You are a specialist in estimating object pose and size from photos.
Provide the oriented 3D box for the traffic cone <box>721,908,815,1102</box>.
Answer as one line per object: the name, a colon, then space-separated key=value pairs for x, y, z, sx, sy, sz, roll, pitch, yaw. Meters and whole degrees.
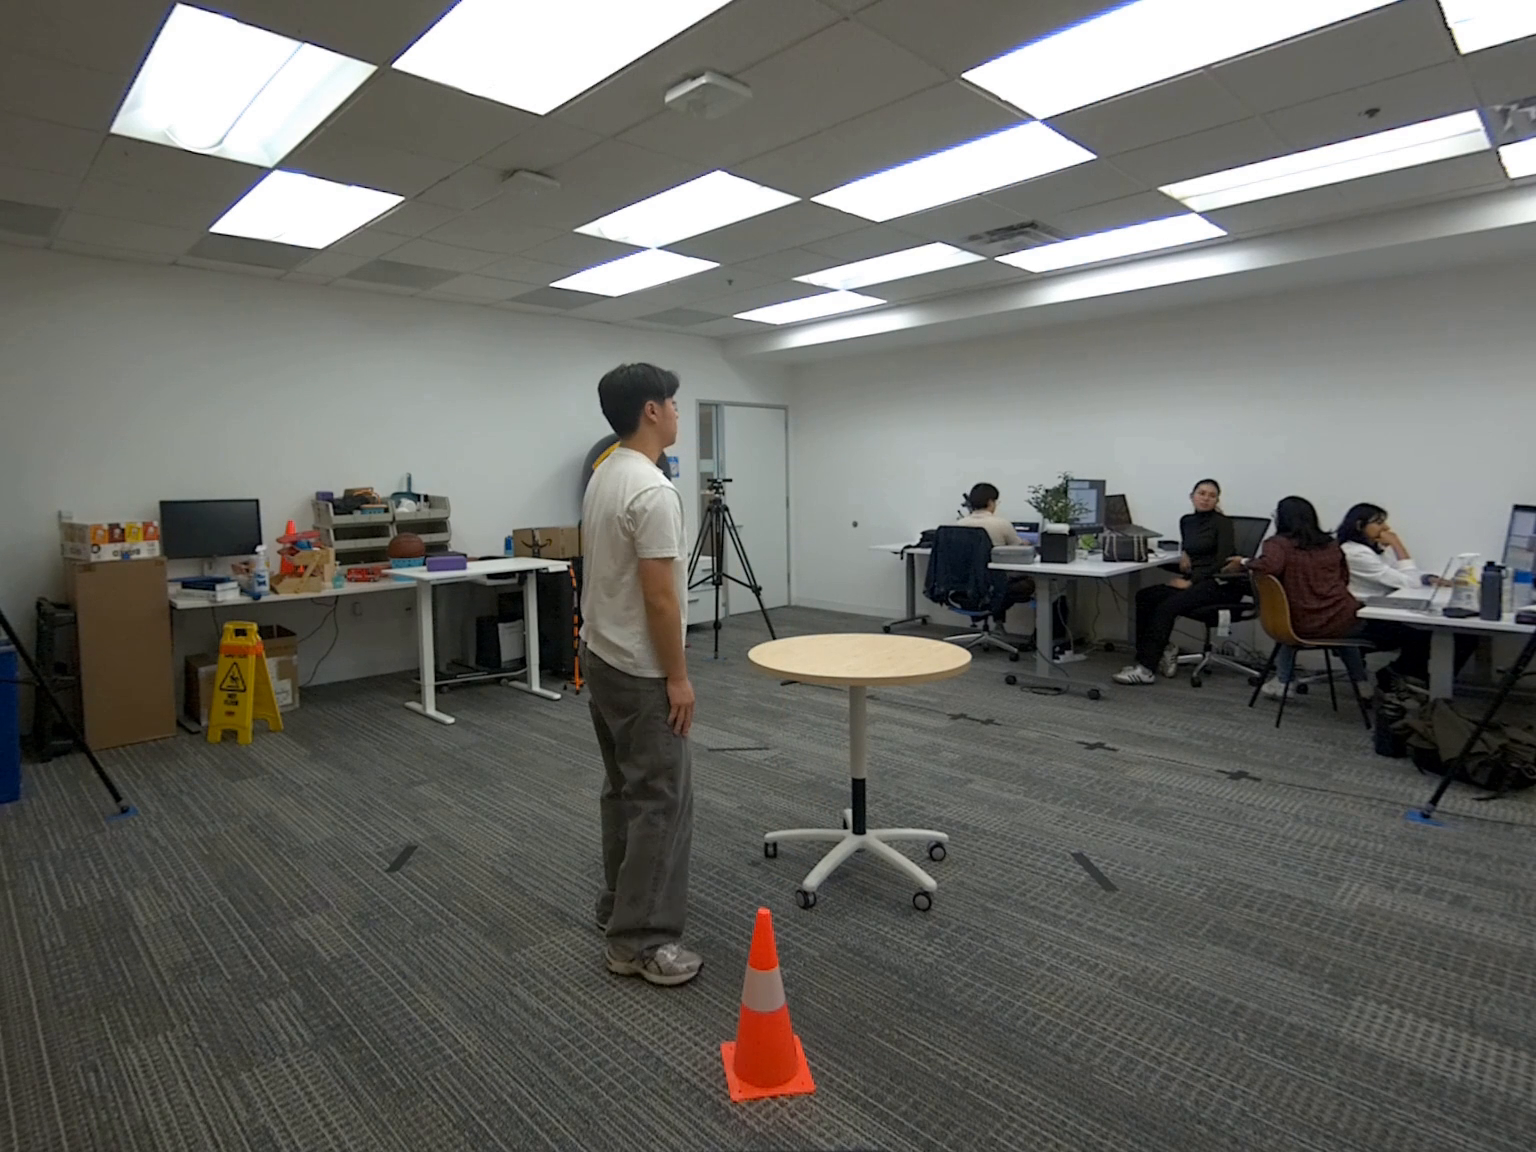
traffic cone: x=0.001 y=0.989 z=2.020 sx=0.202 sy=0.382 sz=0.208 roll=-3 pitch=5 yaw=-9
